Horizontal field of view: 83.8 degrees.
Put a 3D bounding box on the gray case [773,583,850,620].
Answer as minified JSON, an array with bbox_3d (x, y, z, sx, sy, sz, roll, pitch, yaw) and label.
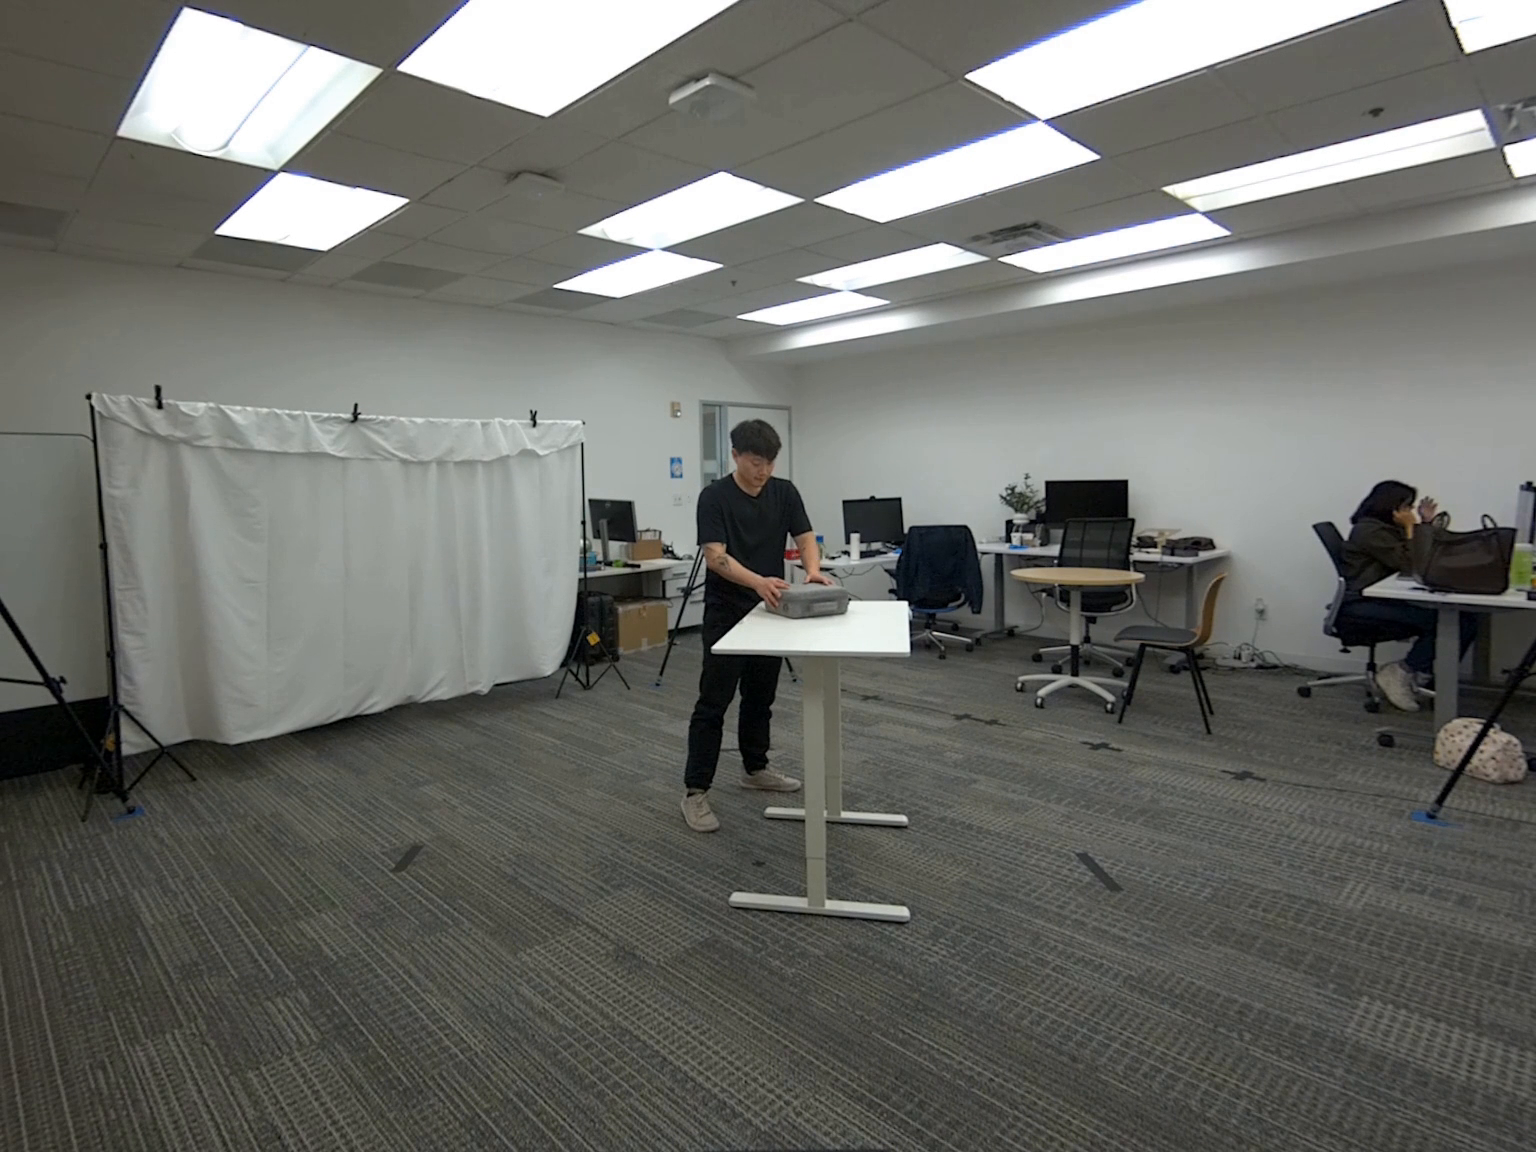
[{"bbox_3d":[0.155,0.091,3.275,0.252,0.104,0.267,-2,6,-23],"label":"gray case"}]
